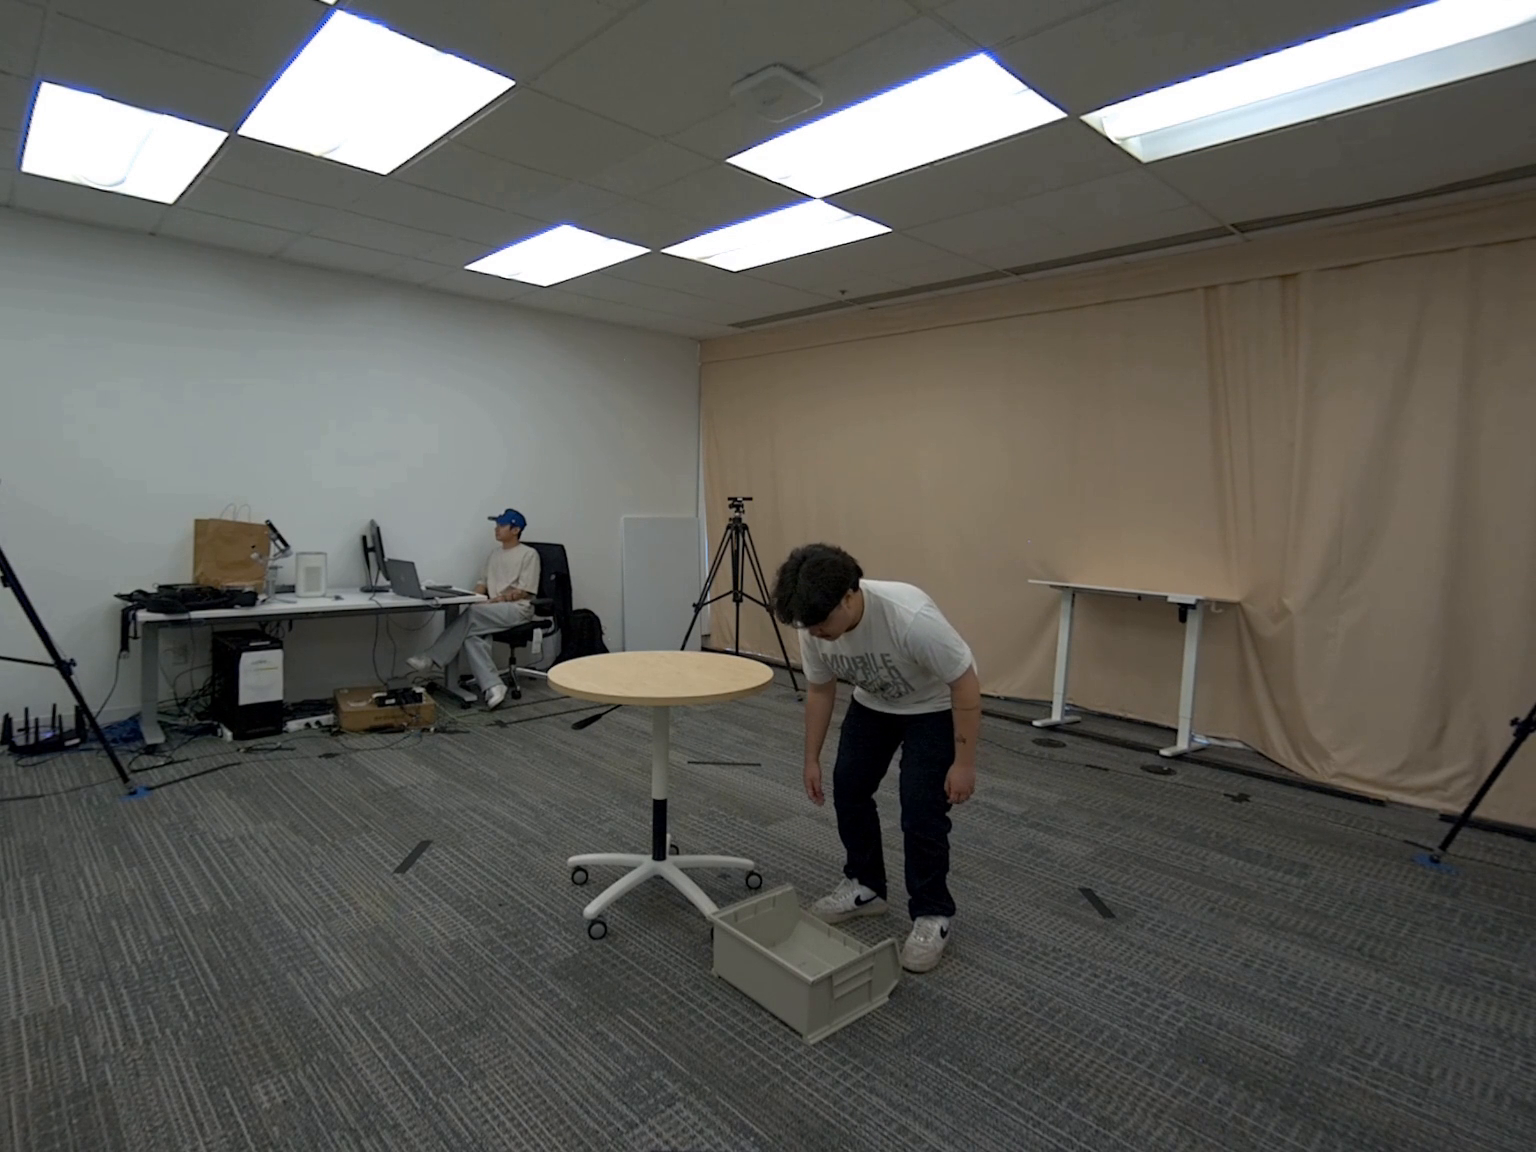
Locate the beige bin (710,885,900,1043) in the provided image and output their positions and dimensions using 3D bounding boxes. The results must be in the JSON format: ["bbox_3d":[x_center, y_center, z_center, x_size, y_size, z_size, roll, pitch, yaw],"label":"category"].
[{"bbox_3d":[0.096,1.088,2.412,0.369,0.188,0.433,-4,8,-42],"label":"beige bin"}]
